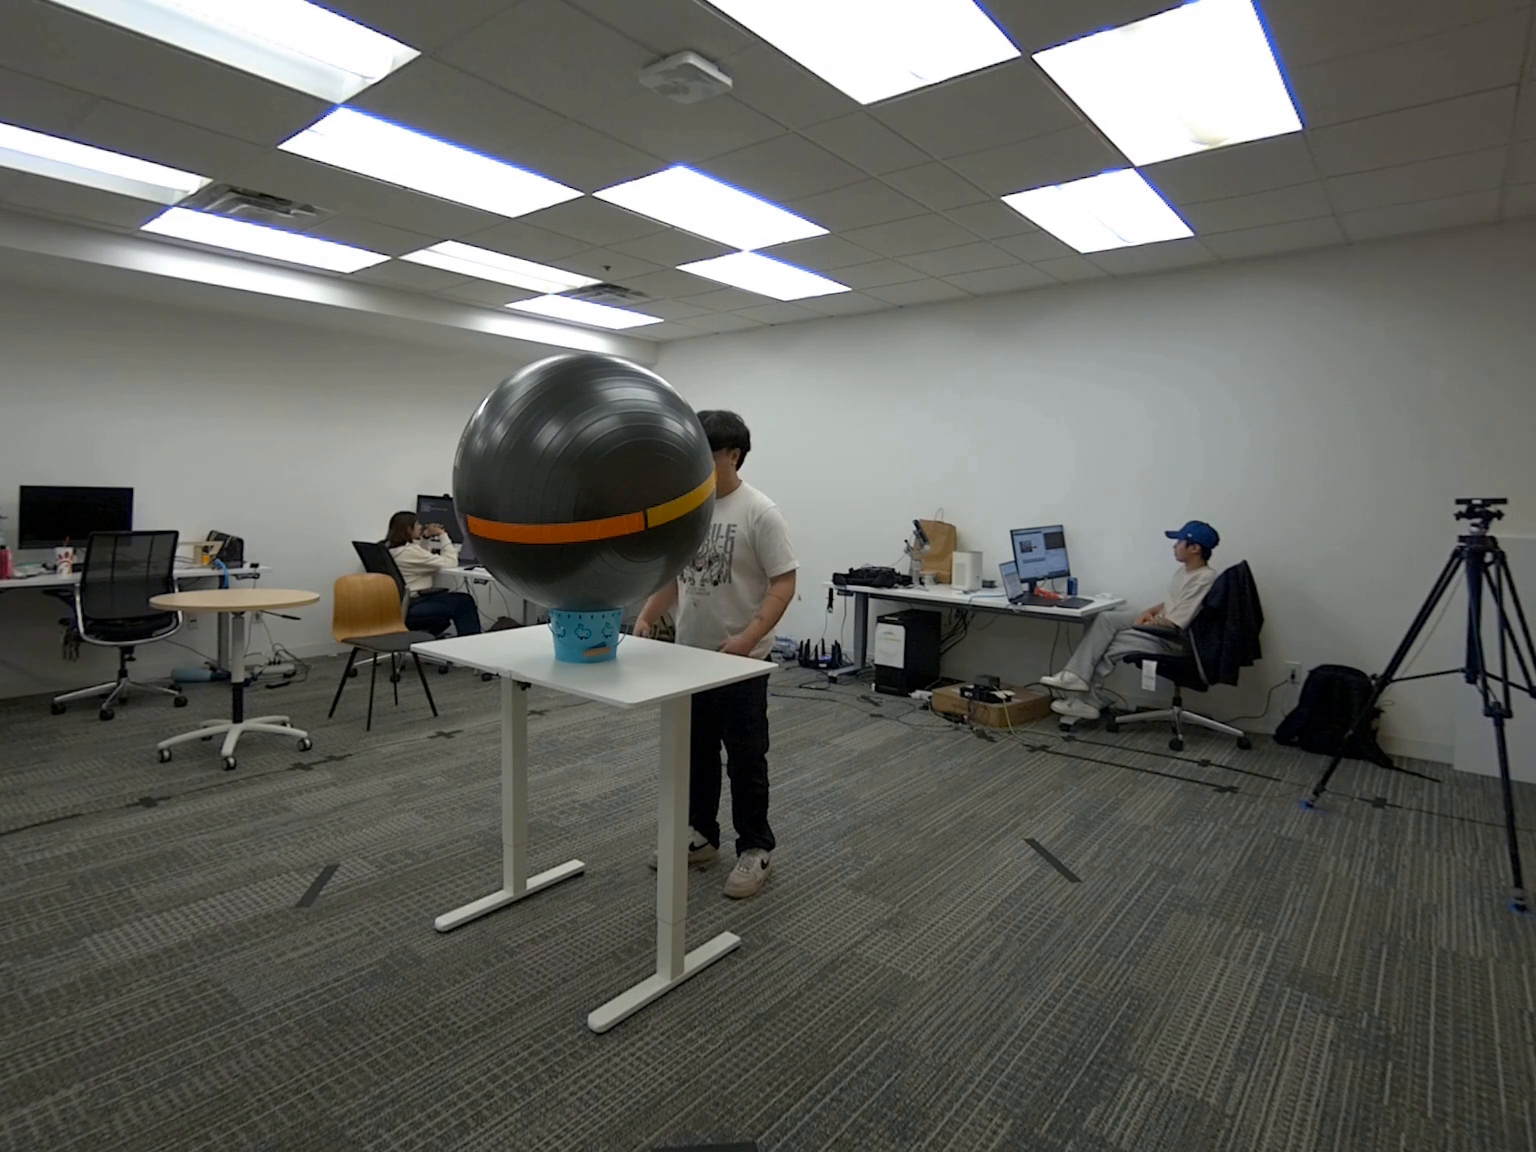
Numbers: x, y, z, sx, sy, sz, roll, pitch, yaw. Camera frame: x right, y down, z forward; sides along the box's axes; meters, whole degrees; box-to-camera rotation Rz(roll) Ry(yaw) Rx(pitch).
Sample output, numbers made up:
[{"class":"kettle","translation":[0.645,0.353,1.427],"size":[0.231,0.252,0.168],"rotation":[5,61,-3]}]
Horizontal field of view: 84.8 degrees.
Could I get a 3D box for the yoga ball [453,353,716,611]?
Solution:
[{"class":"yoga ball","translation":[-0.543,-0.263,2.497],"size":[0.757,0.755,0.762],"rotation":[1,4,-2]}]
